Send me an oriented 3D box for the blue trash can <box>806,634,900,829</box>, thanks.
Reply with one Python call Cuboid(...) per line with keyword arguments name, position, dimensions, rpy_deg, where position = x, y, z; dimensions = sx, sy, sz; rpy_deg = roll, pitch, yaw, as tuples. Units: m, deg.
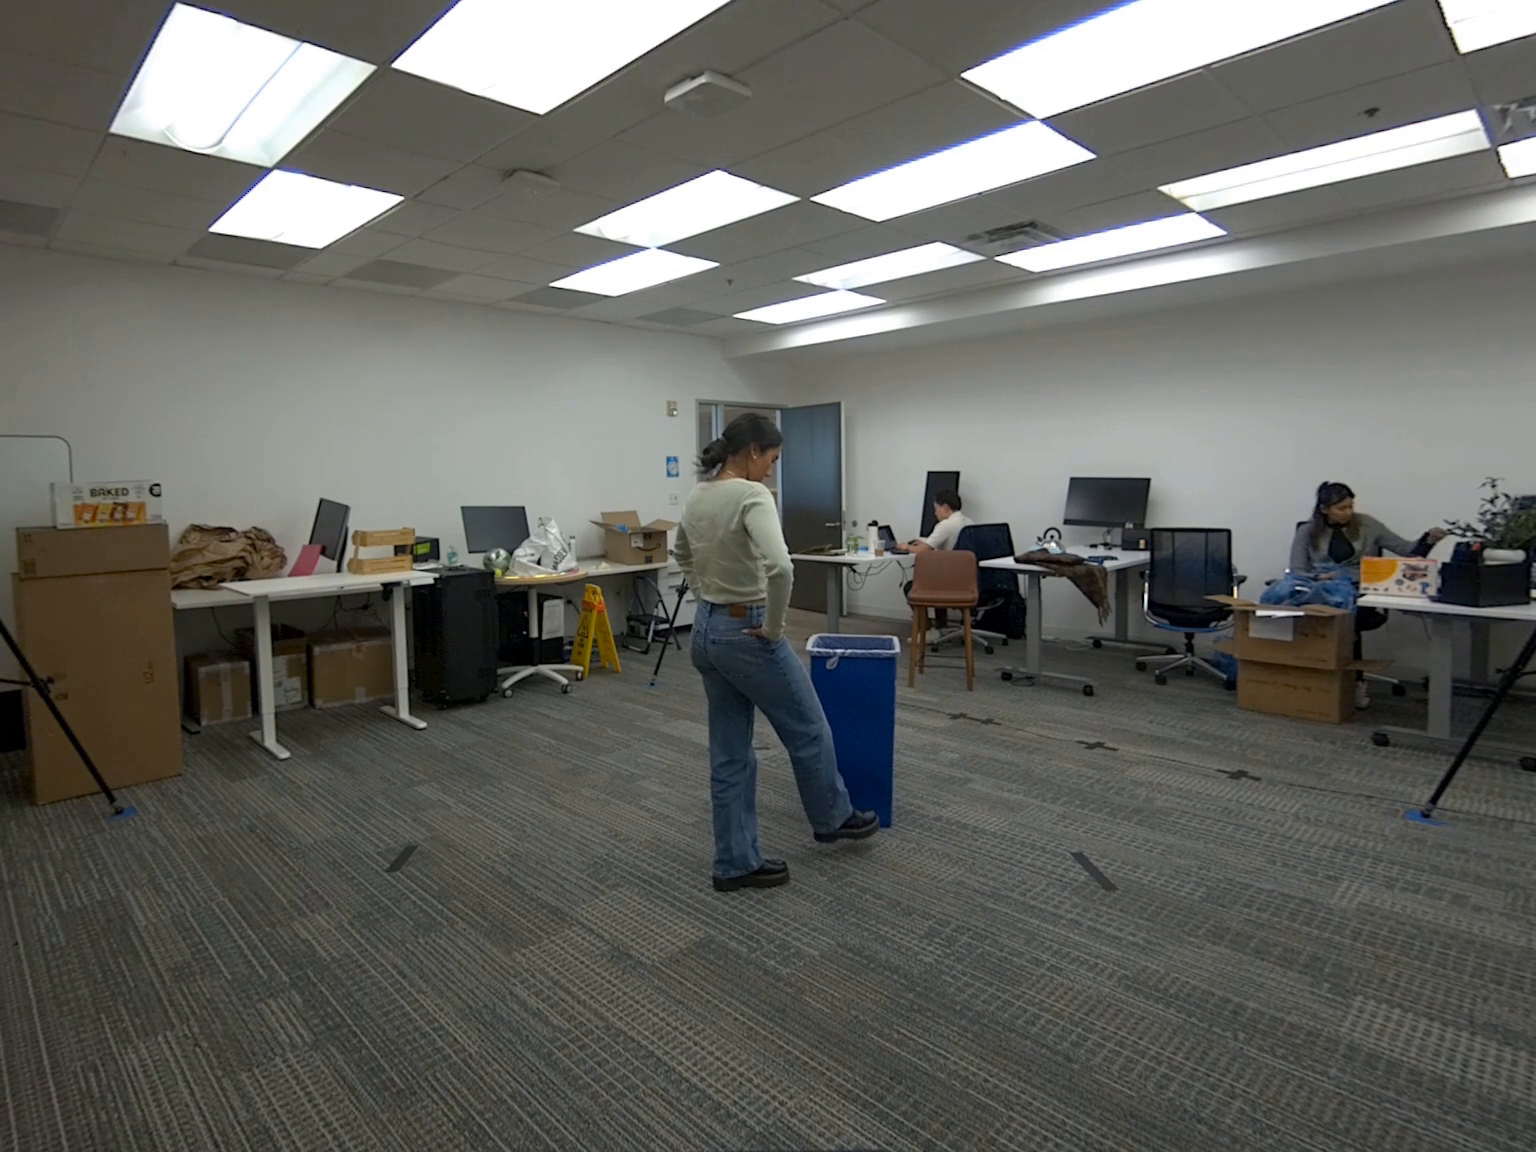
Cuboid(name="blue trash can", position=(0.368, 0.629, 3.556), dimensions=(0.377, 0.711, 0.376), rpy_deg=(0, 3, 6))
